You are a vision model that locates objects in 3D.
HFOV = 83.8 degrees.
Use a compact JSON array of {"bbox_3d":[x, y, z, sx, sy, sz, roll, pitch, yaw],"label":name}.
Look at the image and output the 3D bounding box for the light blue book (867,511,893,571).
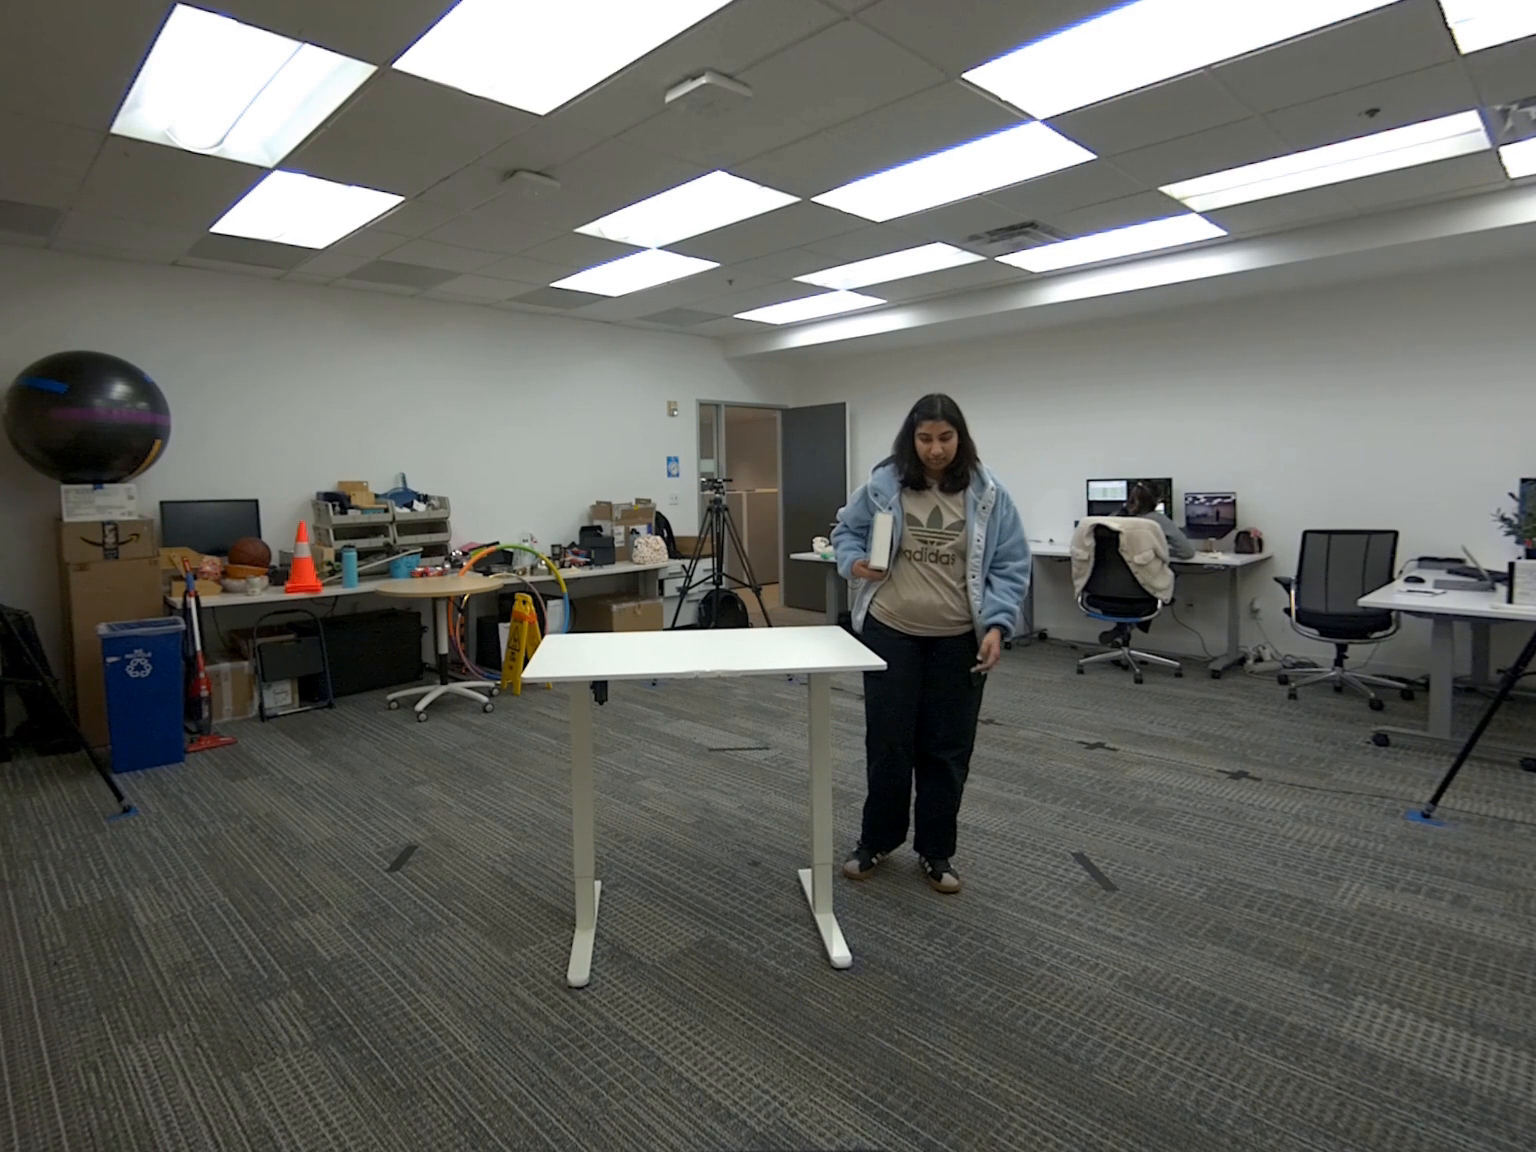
[{"bbox_3d":[0.375,-0.118,2.943,0.059,0.192,0.260,6,-1,-1],"label":"light blue book"}]
